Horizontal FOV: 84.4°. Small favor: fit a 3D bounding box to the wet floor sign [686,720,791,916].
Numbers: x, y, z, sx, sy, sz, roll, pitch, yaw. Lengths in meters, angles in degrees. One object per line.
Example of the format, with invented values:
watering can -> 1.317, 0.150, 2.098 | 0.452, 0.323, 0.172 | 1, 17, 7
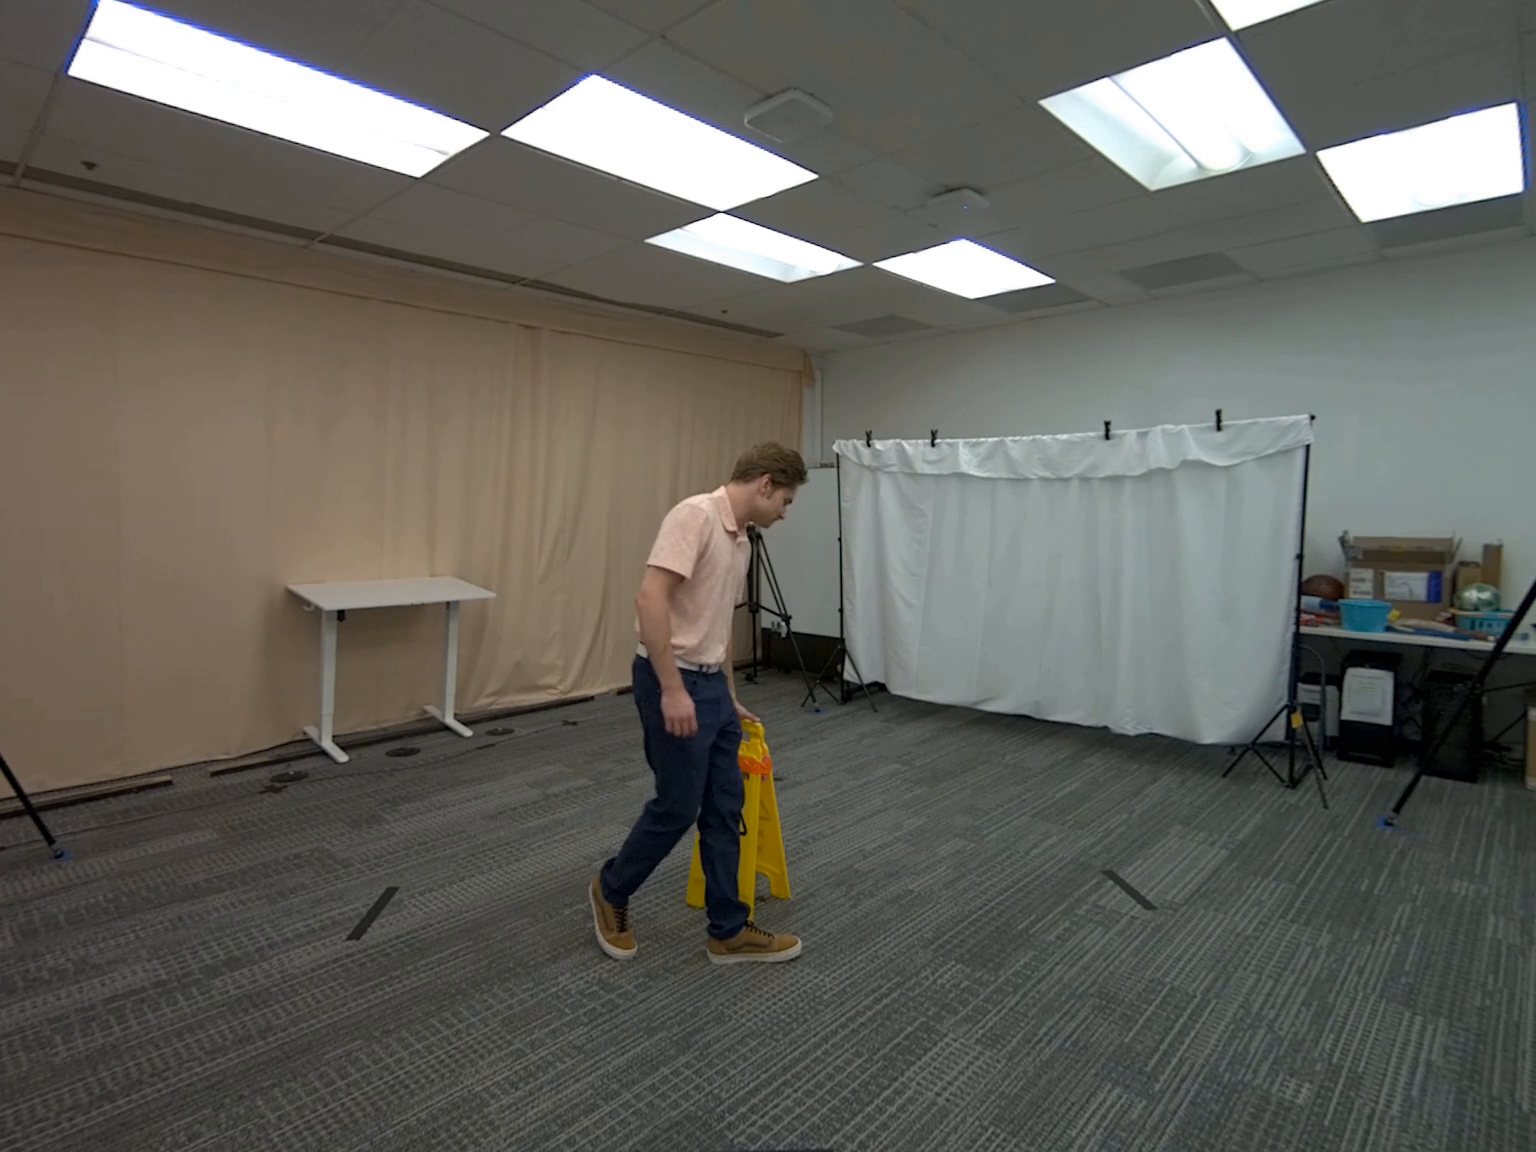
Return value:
wet floor sign -> -0.098, 0.821, 2.950 | 0.291, 0.645, 0.281 | 3, 3, 36
